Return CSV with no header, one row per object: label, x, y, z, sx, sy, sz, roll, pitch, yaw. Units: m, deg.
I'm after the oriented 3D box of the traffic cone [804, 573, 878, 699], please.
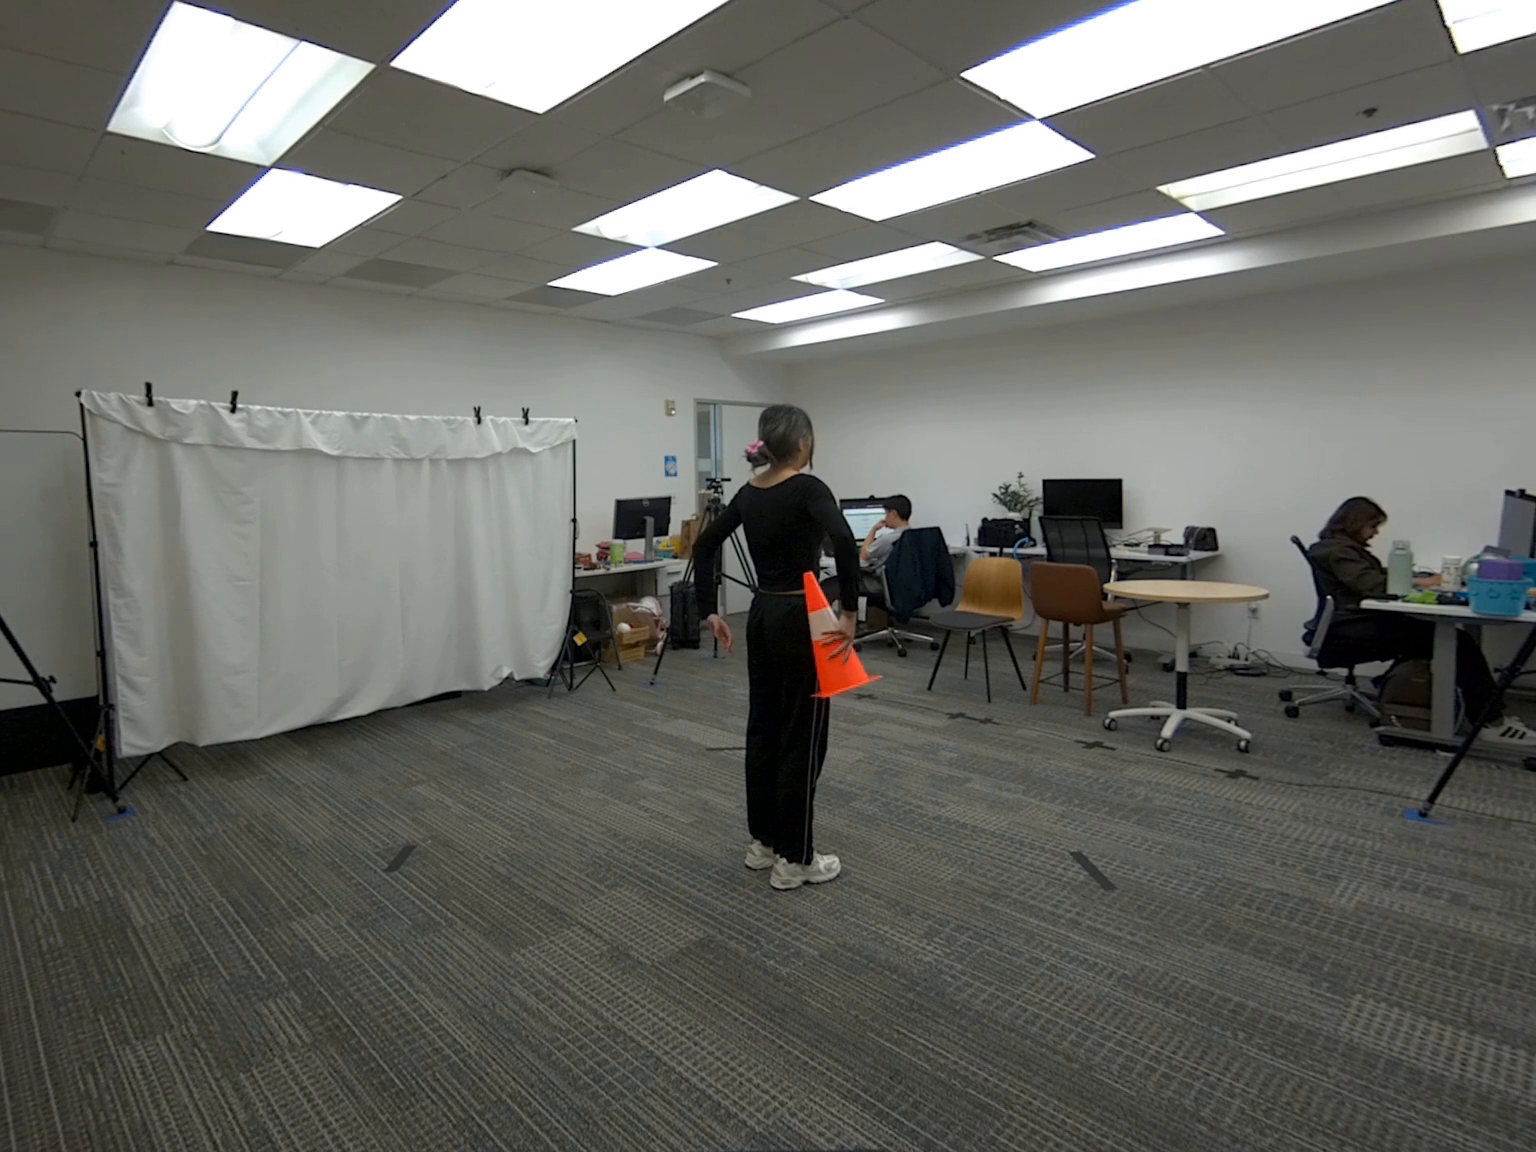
traffic cone,0.189,0.174,2.740,0.200,0.385,0.208,-16,-3,-29
